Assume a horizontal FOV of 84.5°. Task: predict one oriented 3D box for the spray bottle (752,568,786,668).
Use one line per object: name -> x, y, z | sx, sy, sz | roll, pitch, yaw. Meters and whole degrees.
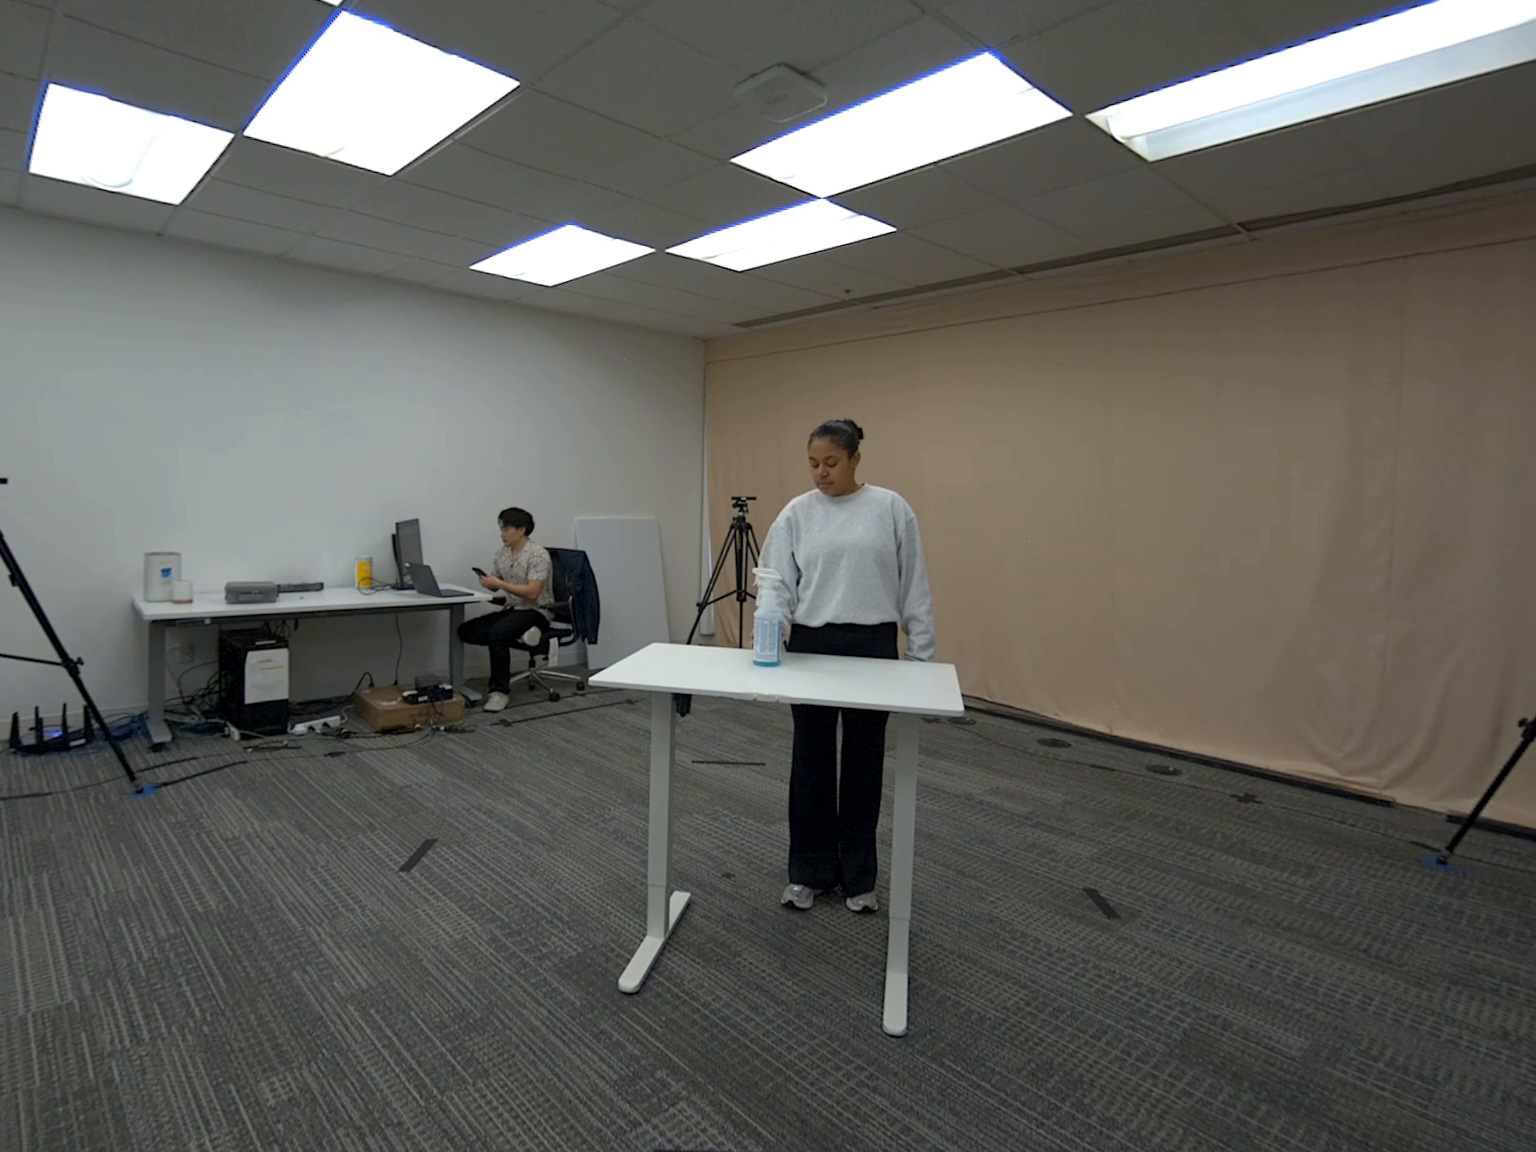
spray bottle -> -0.008, 0.129, 2.587 | 0.092, 0.297, 0.085 | 3, 2, 32
